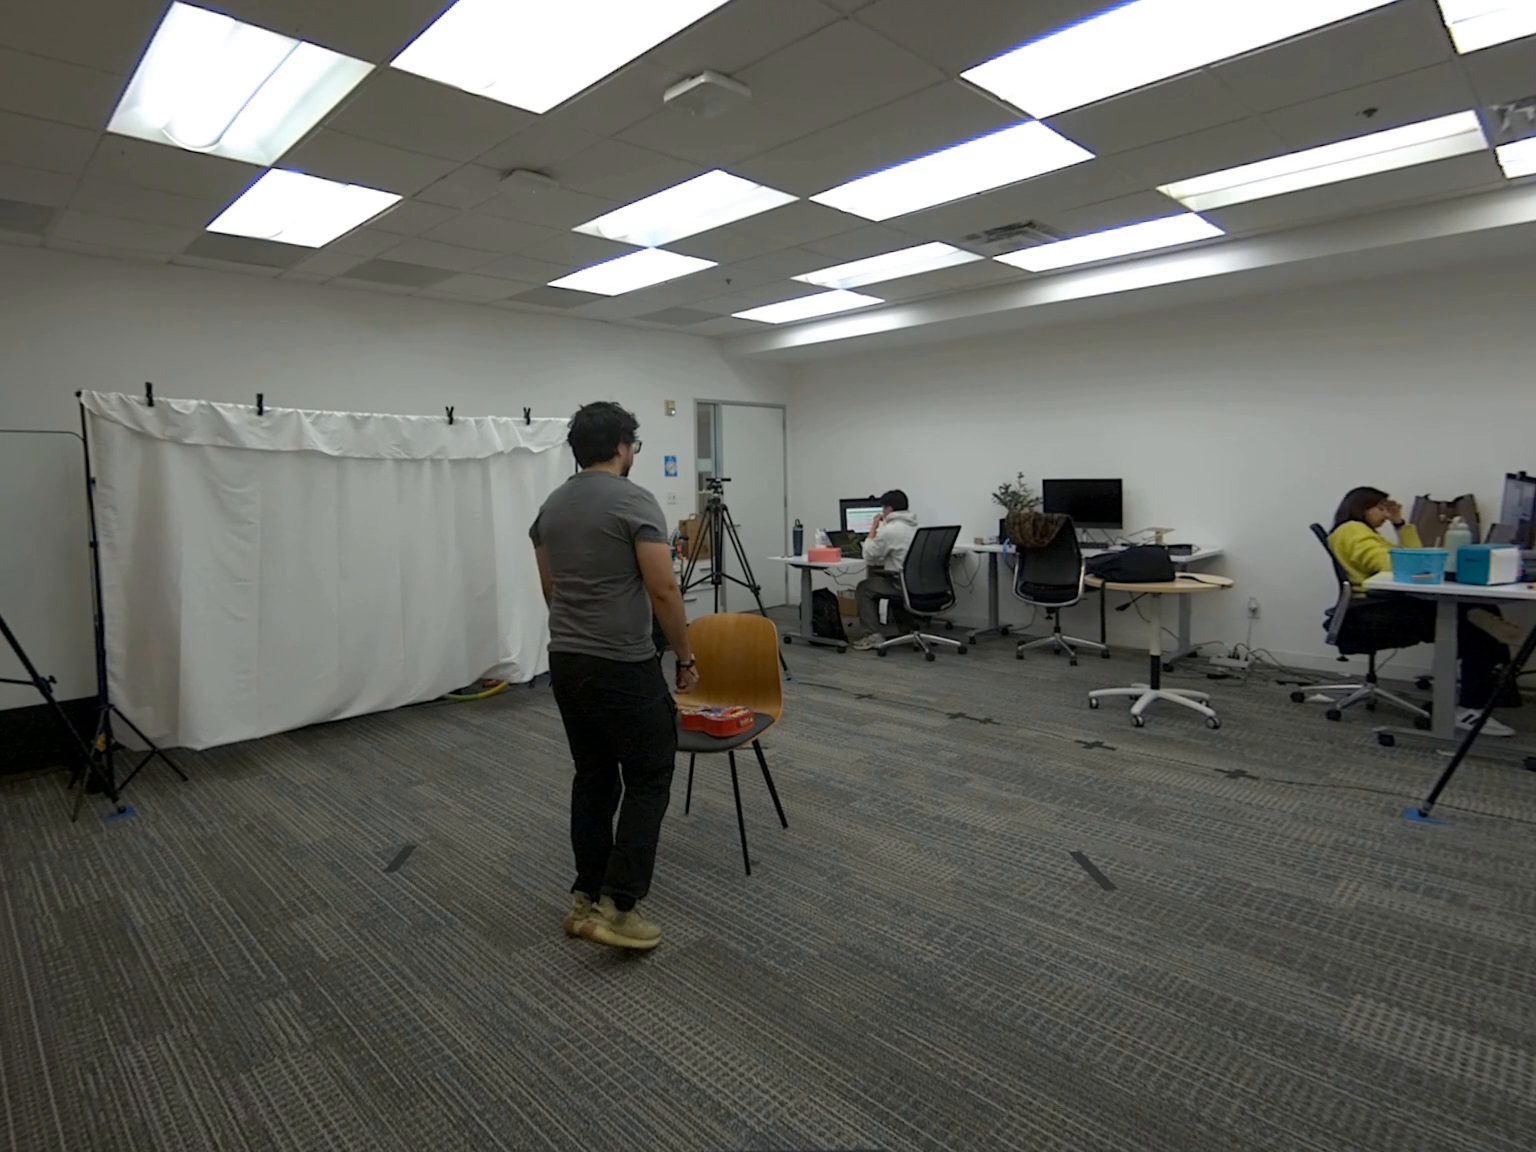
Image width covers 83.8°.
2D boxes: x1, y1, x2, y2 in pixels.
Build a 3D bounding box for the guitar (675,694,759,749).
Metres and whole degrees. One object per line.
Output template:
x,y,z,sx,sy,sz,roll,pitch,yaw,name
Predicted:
-0.263,0.522,3.219,0.512,0.070,0.188,2,7,44,guitar
